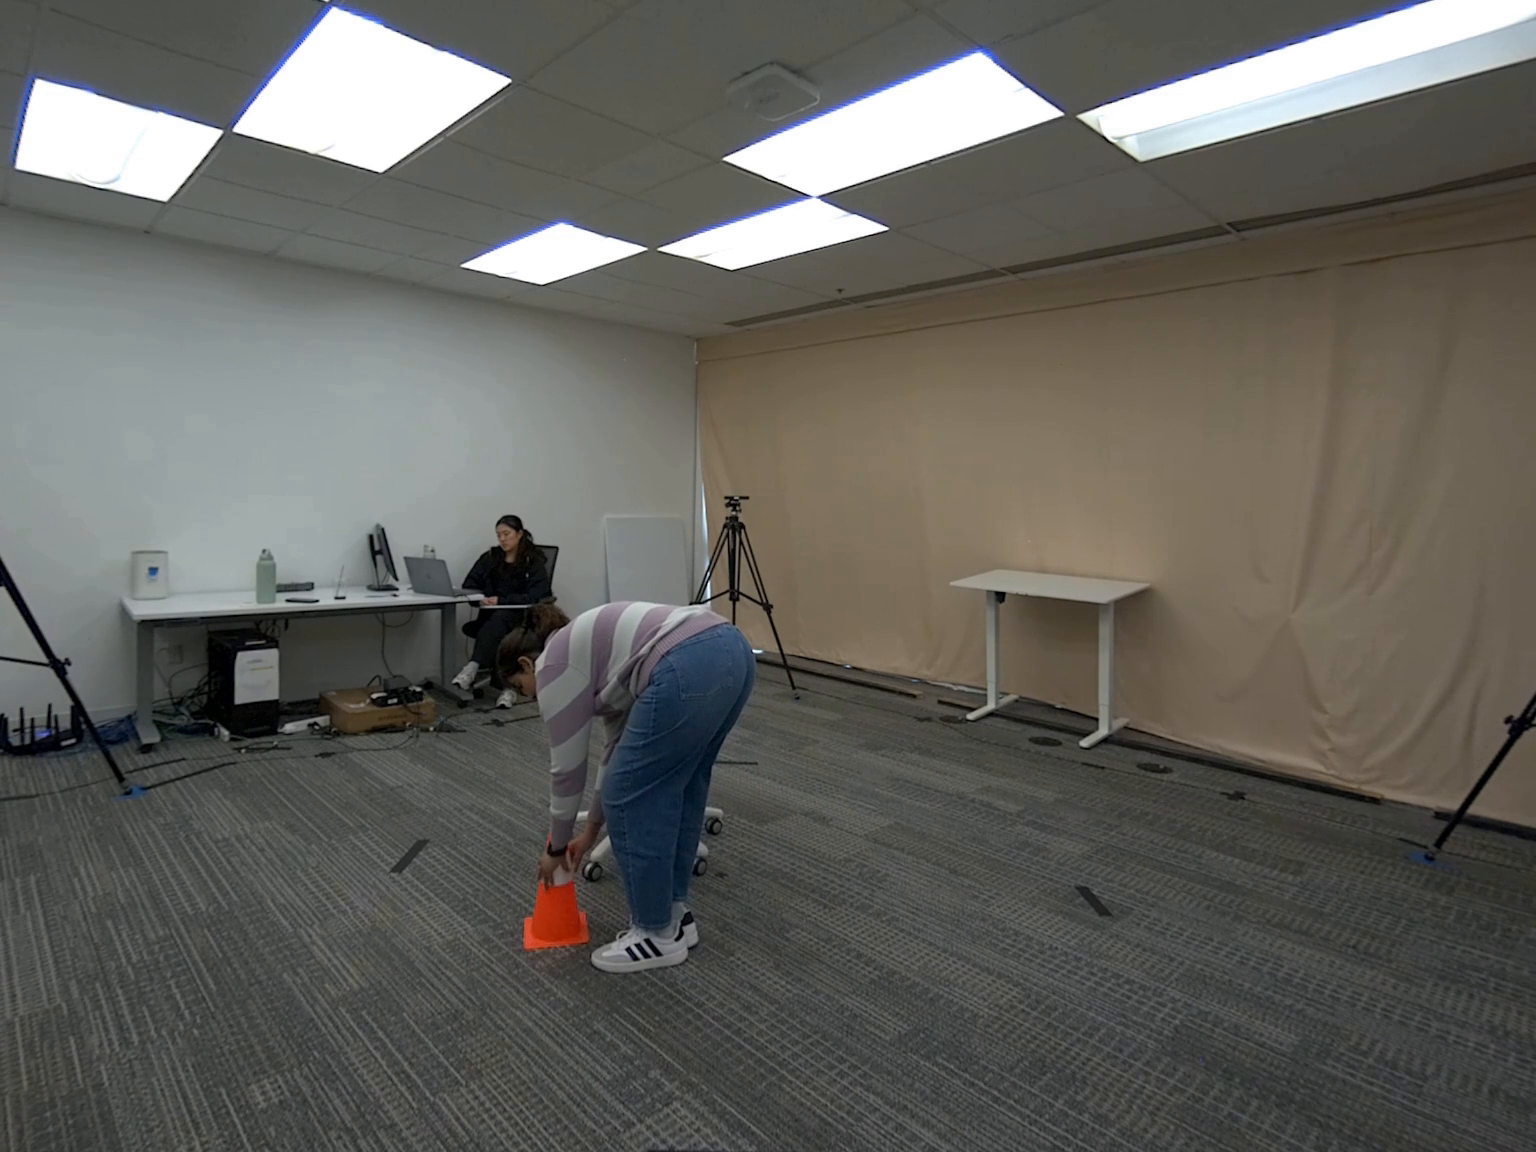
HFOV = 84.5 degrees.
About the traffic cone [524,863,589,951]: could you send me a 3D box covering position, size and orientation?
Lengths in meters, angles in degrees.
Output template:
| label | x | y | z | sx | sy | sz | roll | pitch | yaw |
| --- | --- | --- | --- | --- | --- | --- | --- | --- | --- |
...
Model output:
| label | x | y | z | sx | sy | sz | roll | pitch | yaw |
| --- | --- | --- | --- | --- | --- | --- | --- | --- | --- |
| traffic cone | -0.668 | 0.942 | 2.678 | 0.202 | 0.382 | 0.207 | 0 | 5 | -21 |
